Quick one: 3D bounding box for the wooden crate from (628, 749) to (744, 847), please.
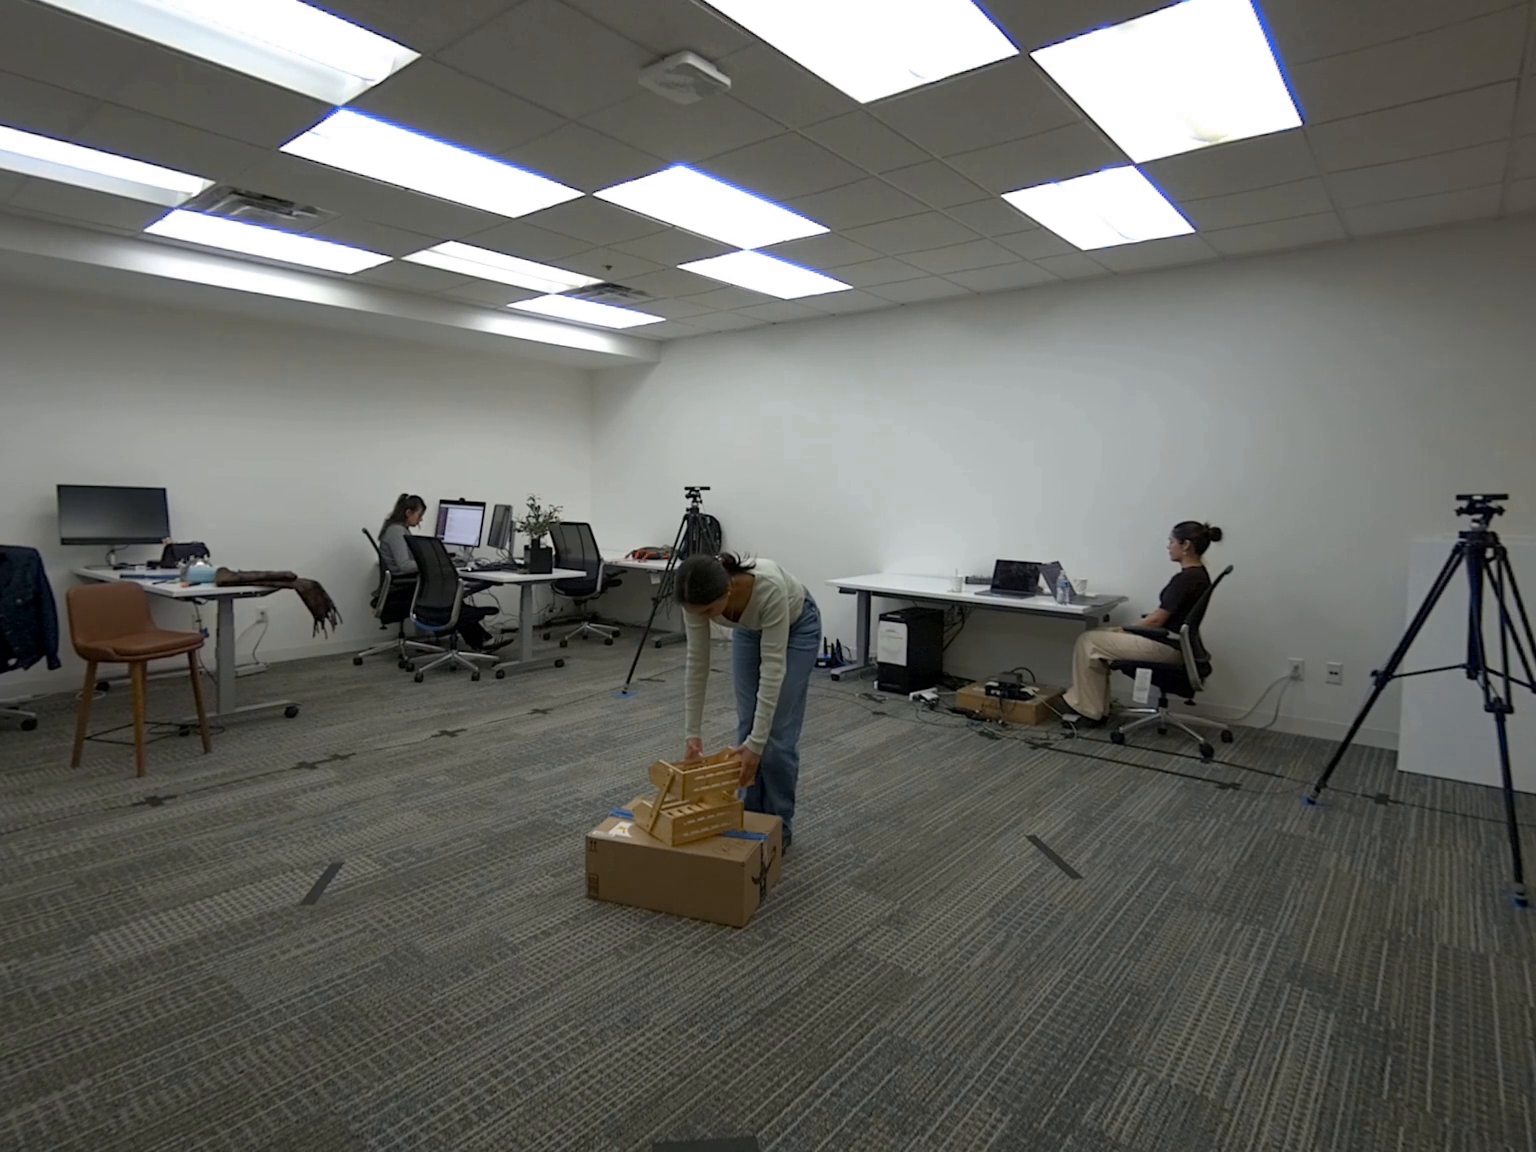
[{"bbox_3d":[-0.271,0.732,2.939,0.315,0.272,0.312,-2,6,-39],"label":"wooden crate"}]
